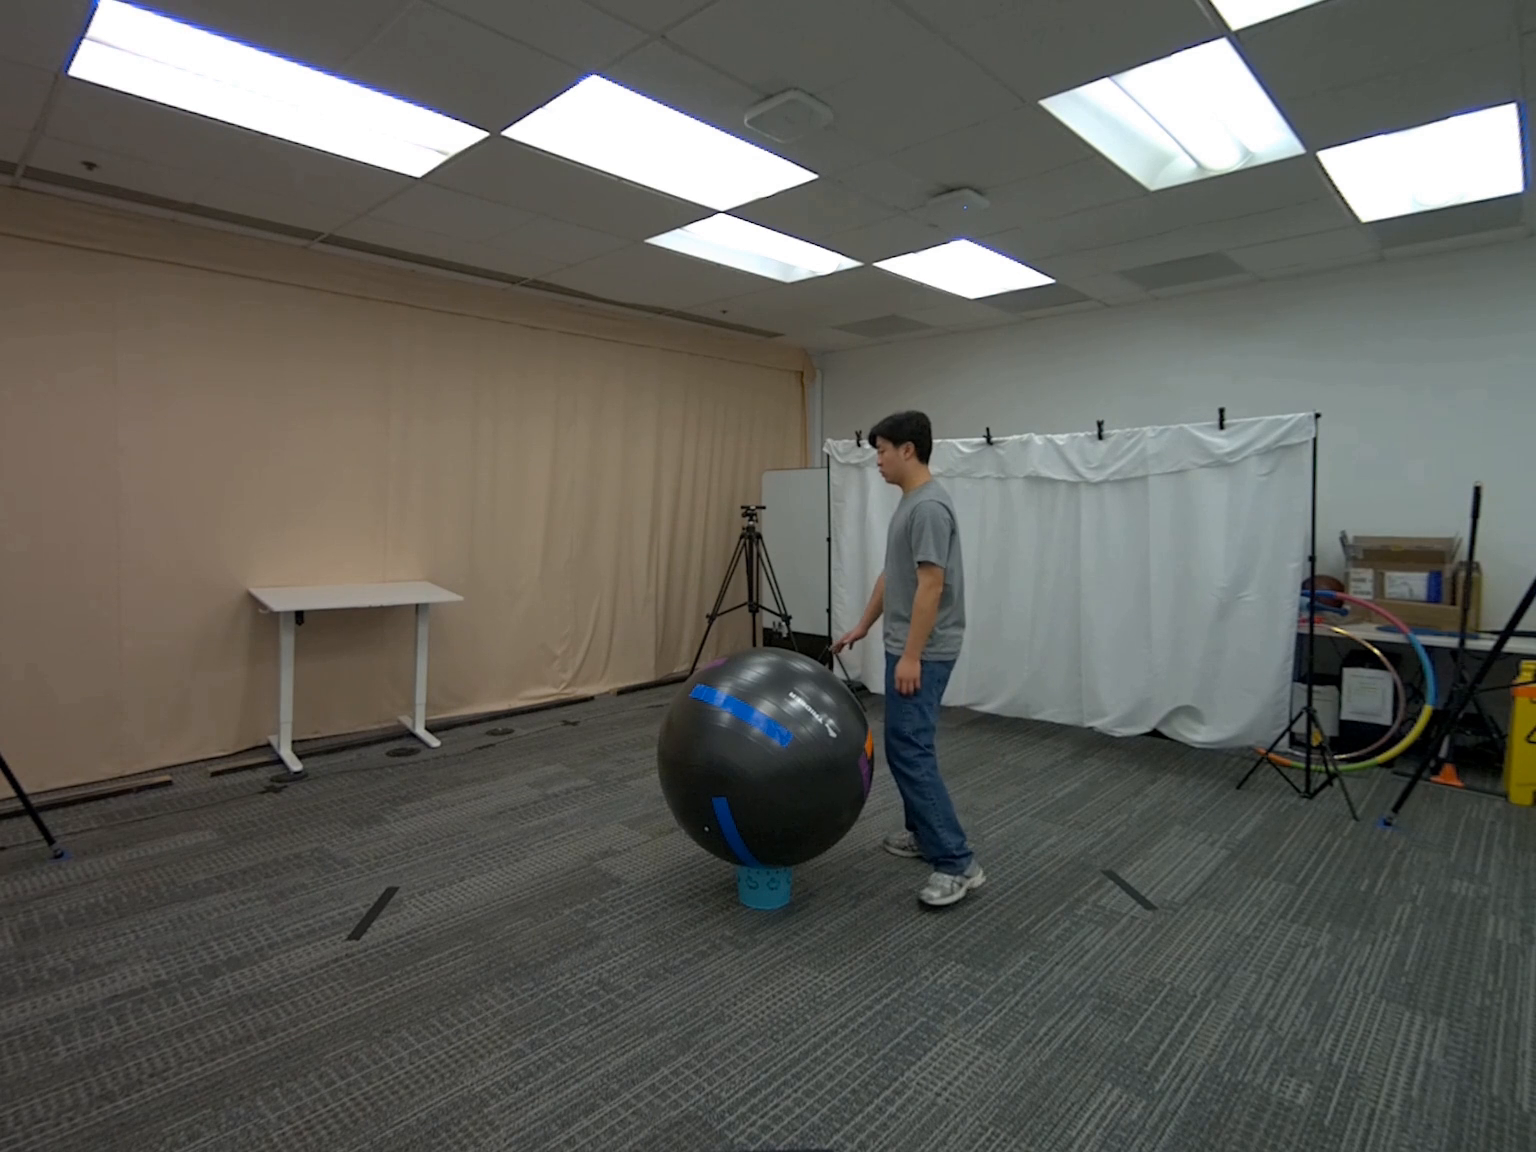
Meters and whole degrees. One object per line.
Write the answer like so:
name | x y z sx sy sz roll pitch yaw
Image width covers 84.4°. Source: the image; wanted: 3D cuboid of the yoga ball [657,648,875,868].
yoga ball | -0.015 0.633 2.976 0.757 0.756 0.760 0 4 -2
